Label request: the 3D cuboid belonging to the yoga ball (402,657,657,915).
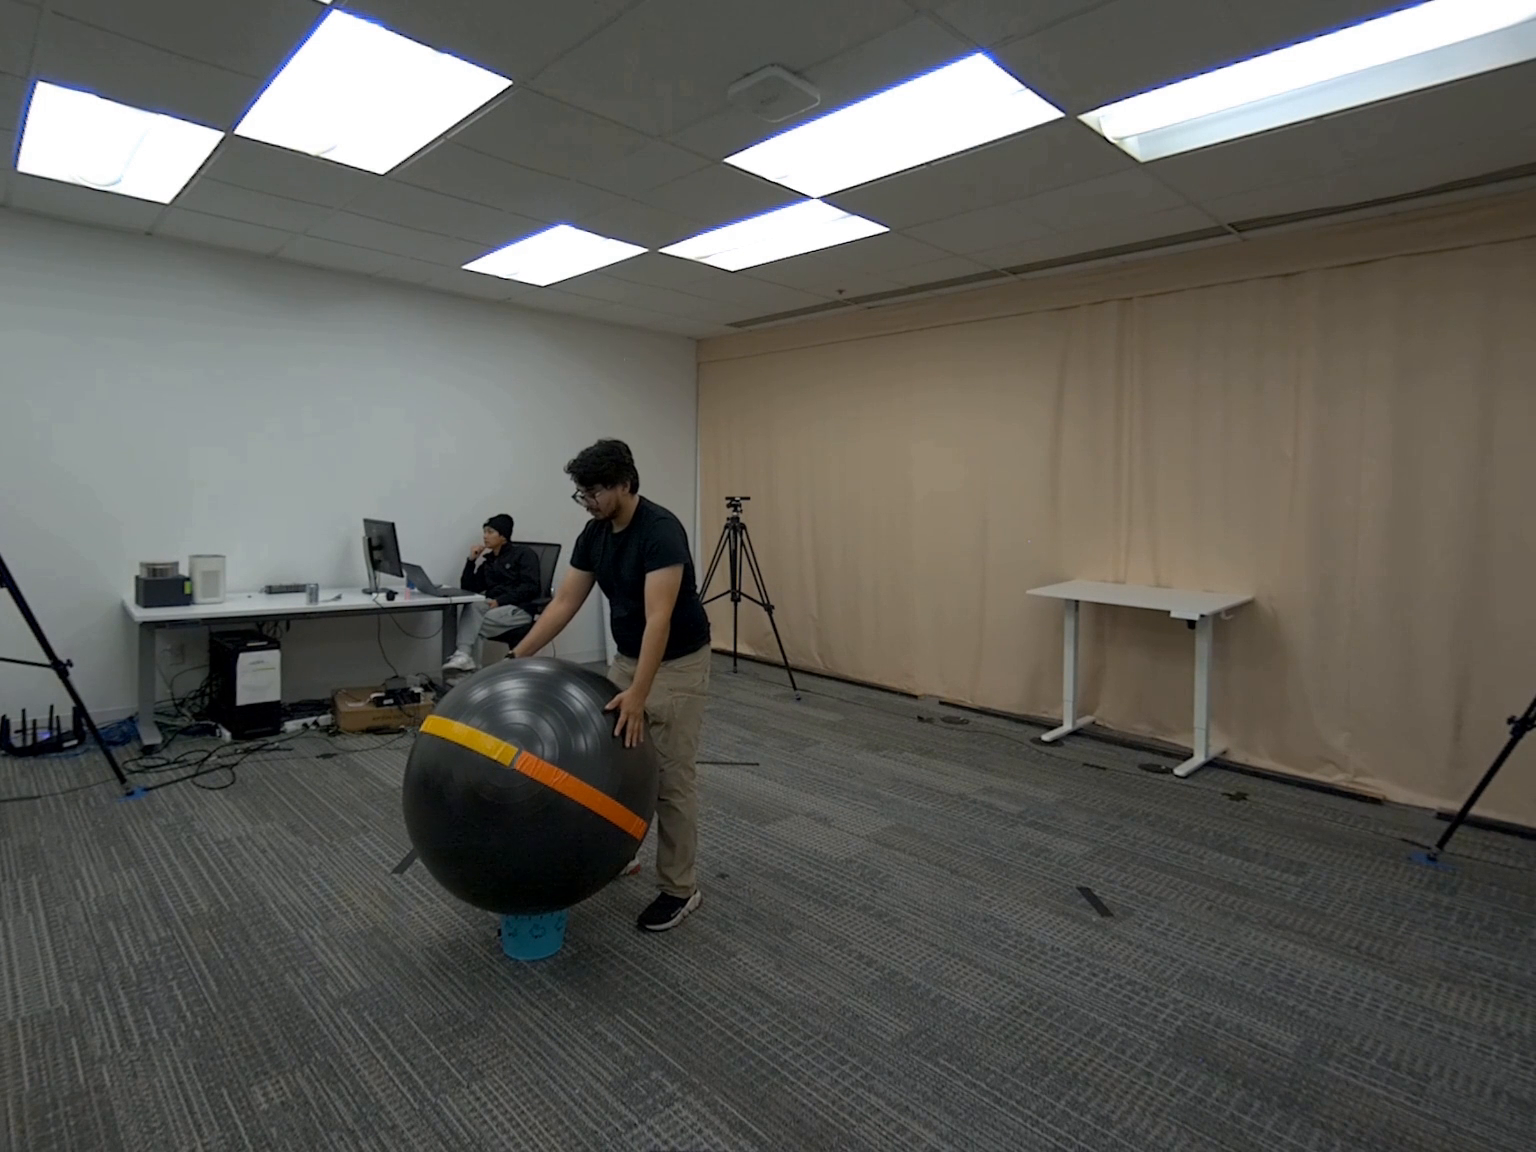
[{"bbox_3d":[-0.719,0.635,2.584,0.757,0.756,0.761,1,4,-1],"label":"yoga ball"}]
